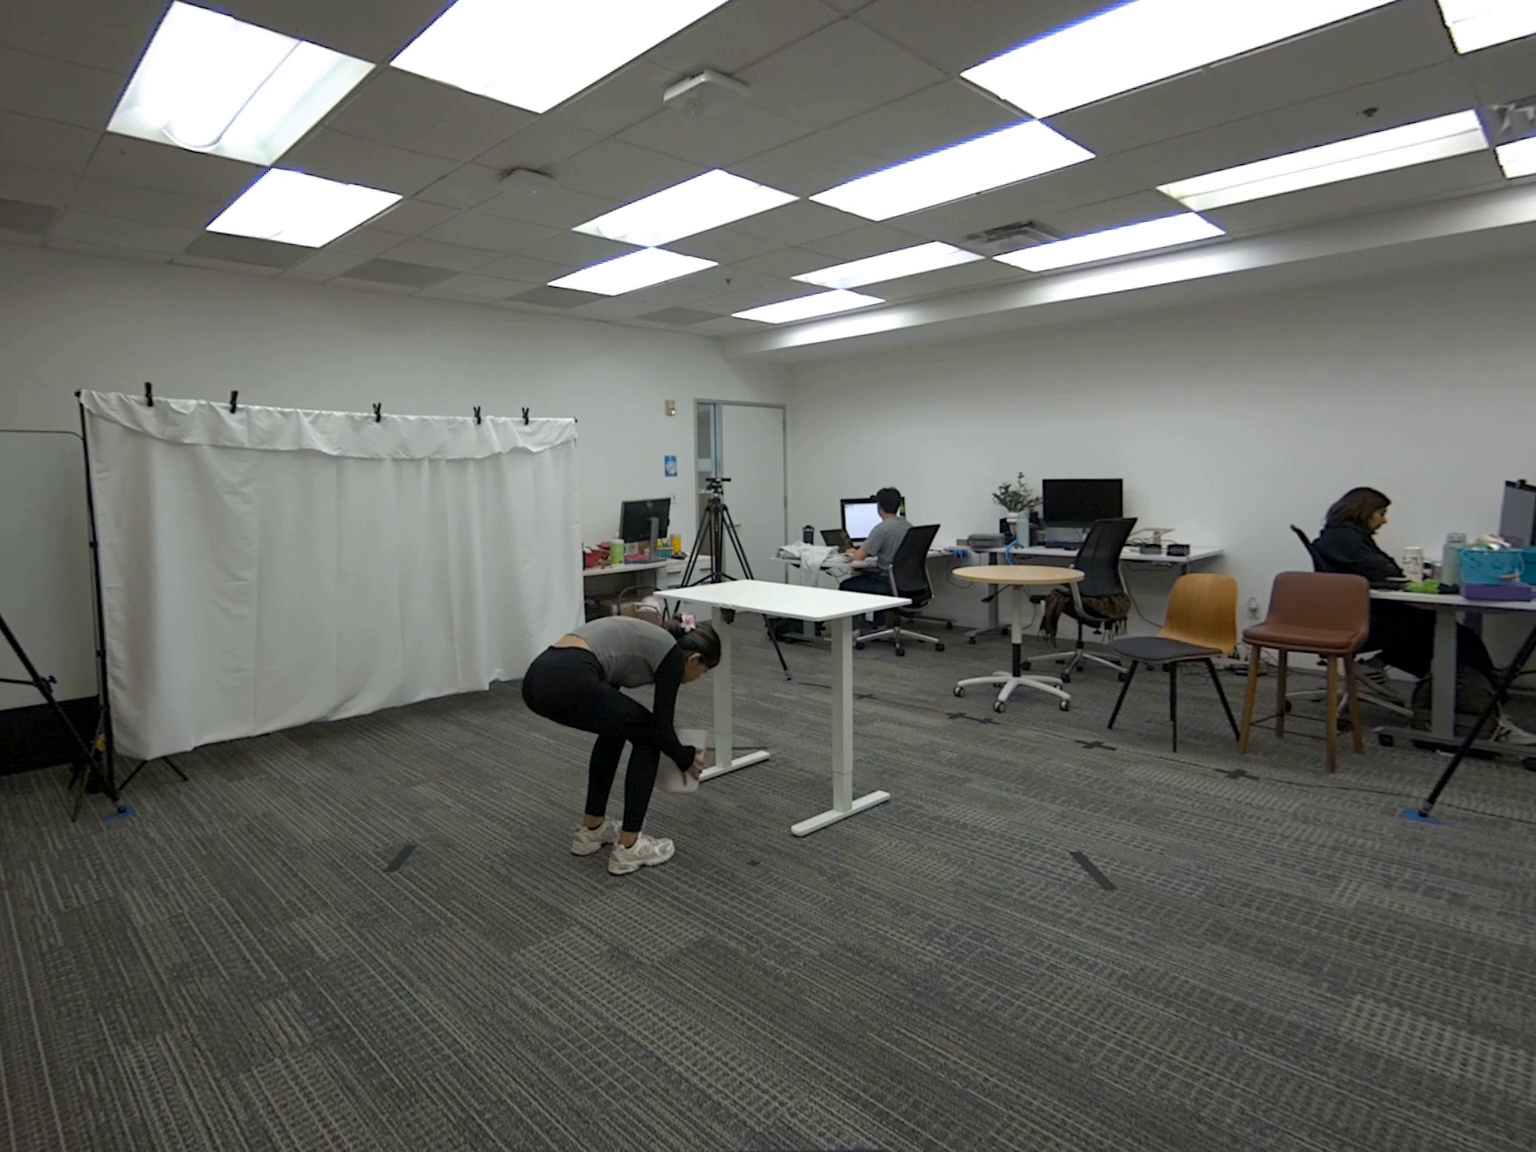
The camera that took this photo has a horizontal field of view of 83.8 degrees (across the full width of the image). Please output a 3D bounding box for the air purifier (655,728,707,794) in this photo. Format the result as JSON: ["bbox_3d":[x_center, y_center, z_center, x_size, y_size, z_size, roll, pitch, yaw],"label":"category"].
[{"bbox_3d":[-0.358,0.716,3.410,0.175,0.268,0.166,-3,-12,26],"label":"air purifier"}]
